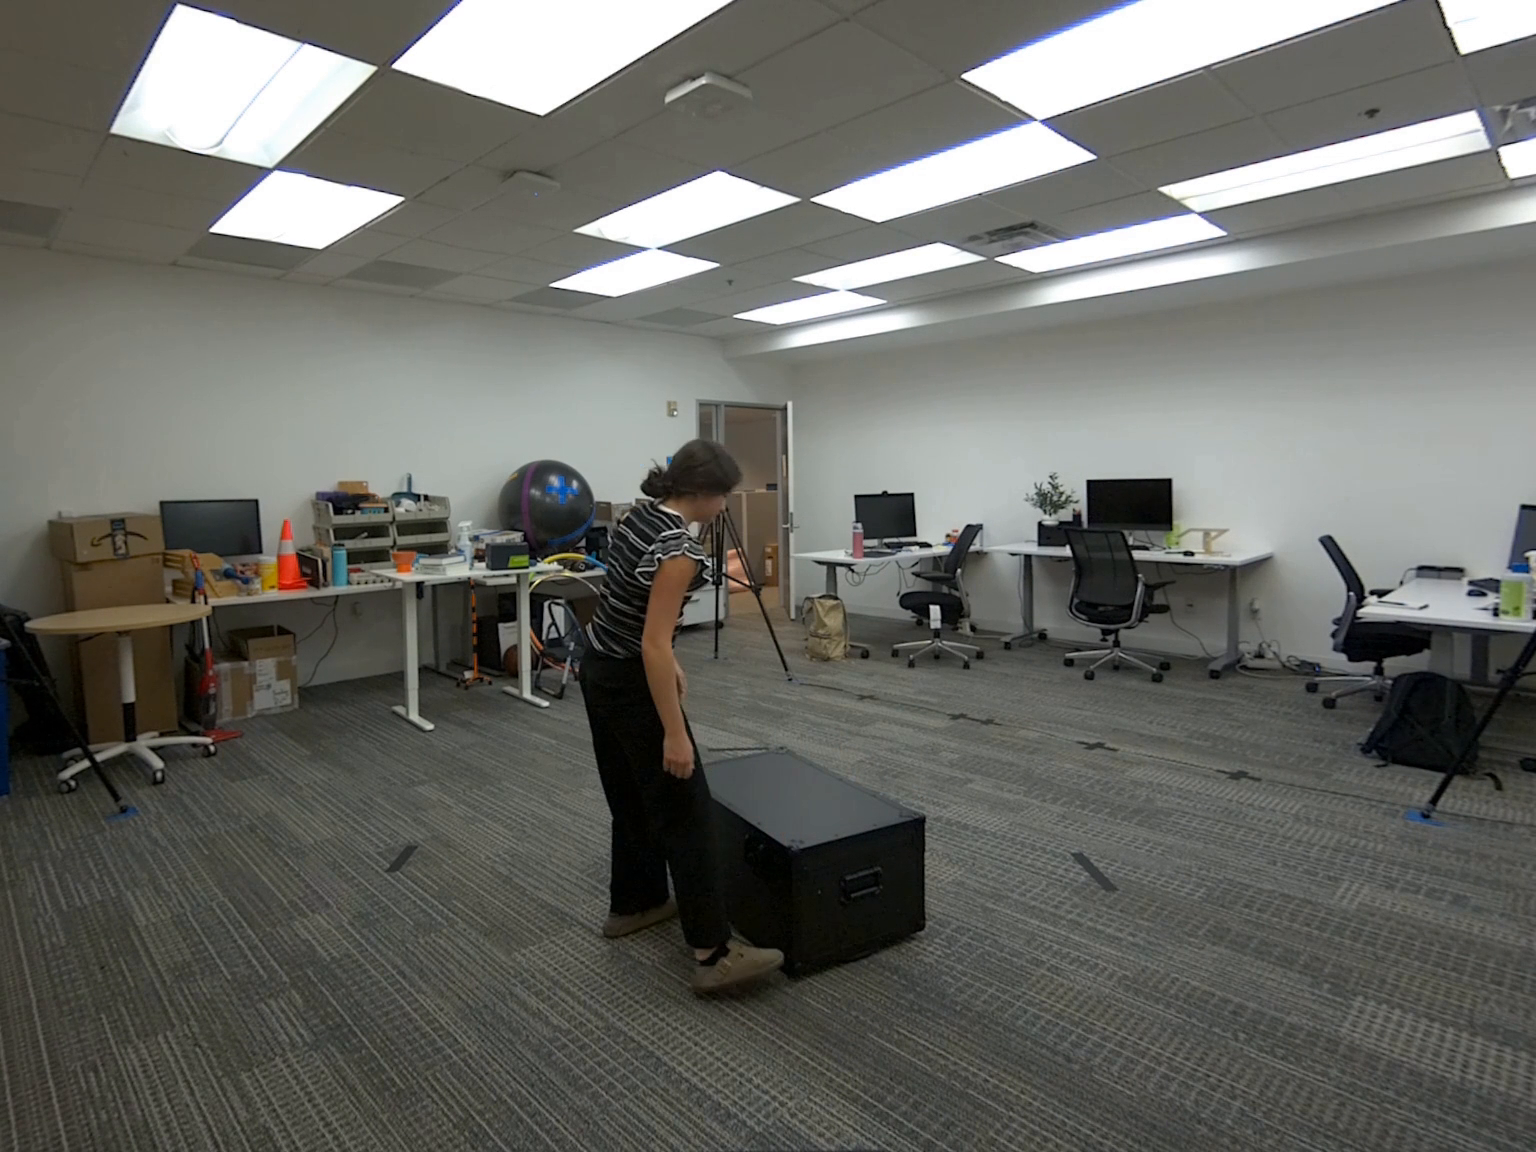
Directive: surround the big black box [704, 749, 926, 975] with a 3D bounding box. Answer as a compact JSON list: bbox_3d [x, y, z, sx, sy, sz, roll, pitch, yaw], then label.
[{"bbox_3d":[0.053,0.882,2.832,0.509,0.394,0.886,-4,7,-30],"label":"big black box"}]
